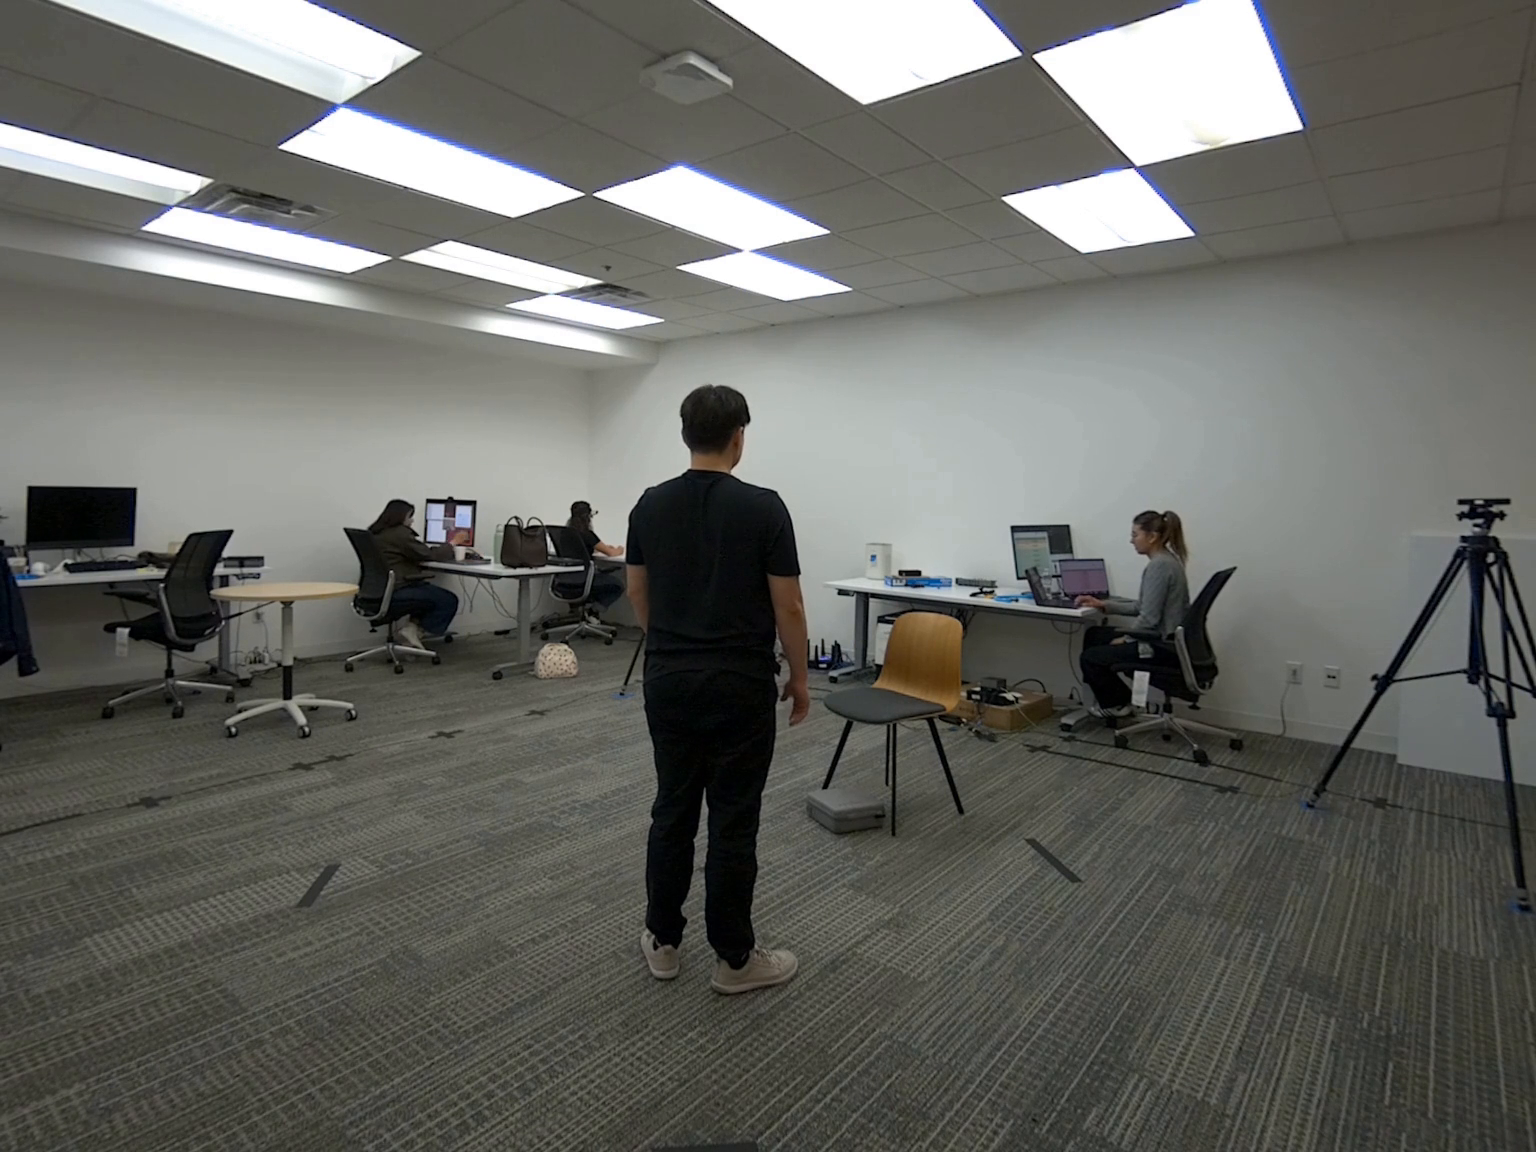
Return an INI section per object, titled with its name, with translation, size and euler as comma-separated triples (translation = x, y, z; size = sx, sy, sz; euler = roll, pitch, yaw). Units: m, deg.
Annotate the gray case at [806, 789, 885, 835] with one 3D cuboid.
[gray case]
translation = 0.315, 0.977, 3.600
size = 0.251, 0.104, 0.267
euler = -3, 5, -25
